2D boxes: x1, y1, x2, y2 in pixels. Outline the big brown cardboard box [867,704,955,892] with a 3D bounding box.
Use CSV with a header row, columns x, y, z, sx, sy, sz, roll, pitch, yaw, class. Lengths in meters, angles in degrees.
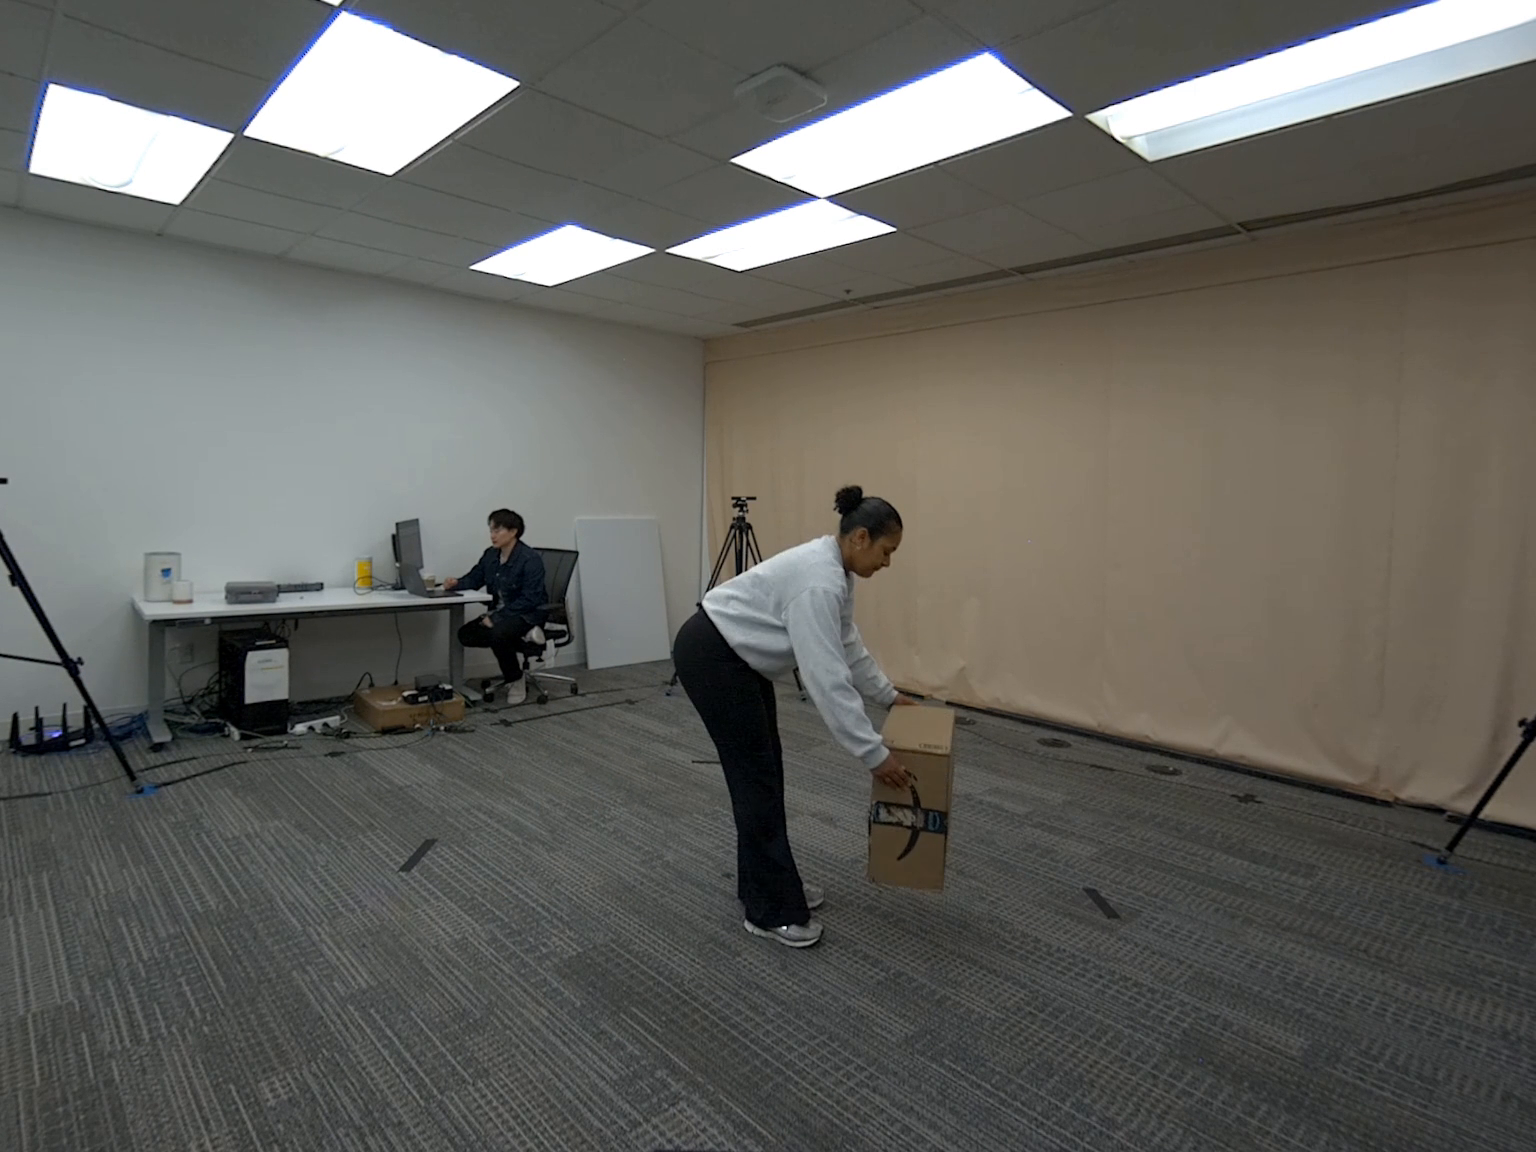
x,y,z,sx,sy,sz,roll,pitch,yaw,class
0.465,0.685,2.709,0.236,0.417,0.582,2,3,15,big brown cardboard box
